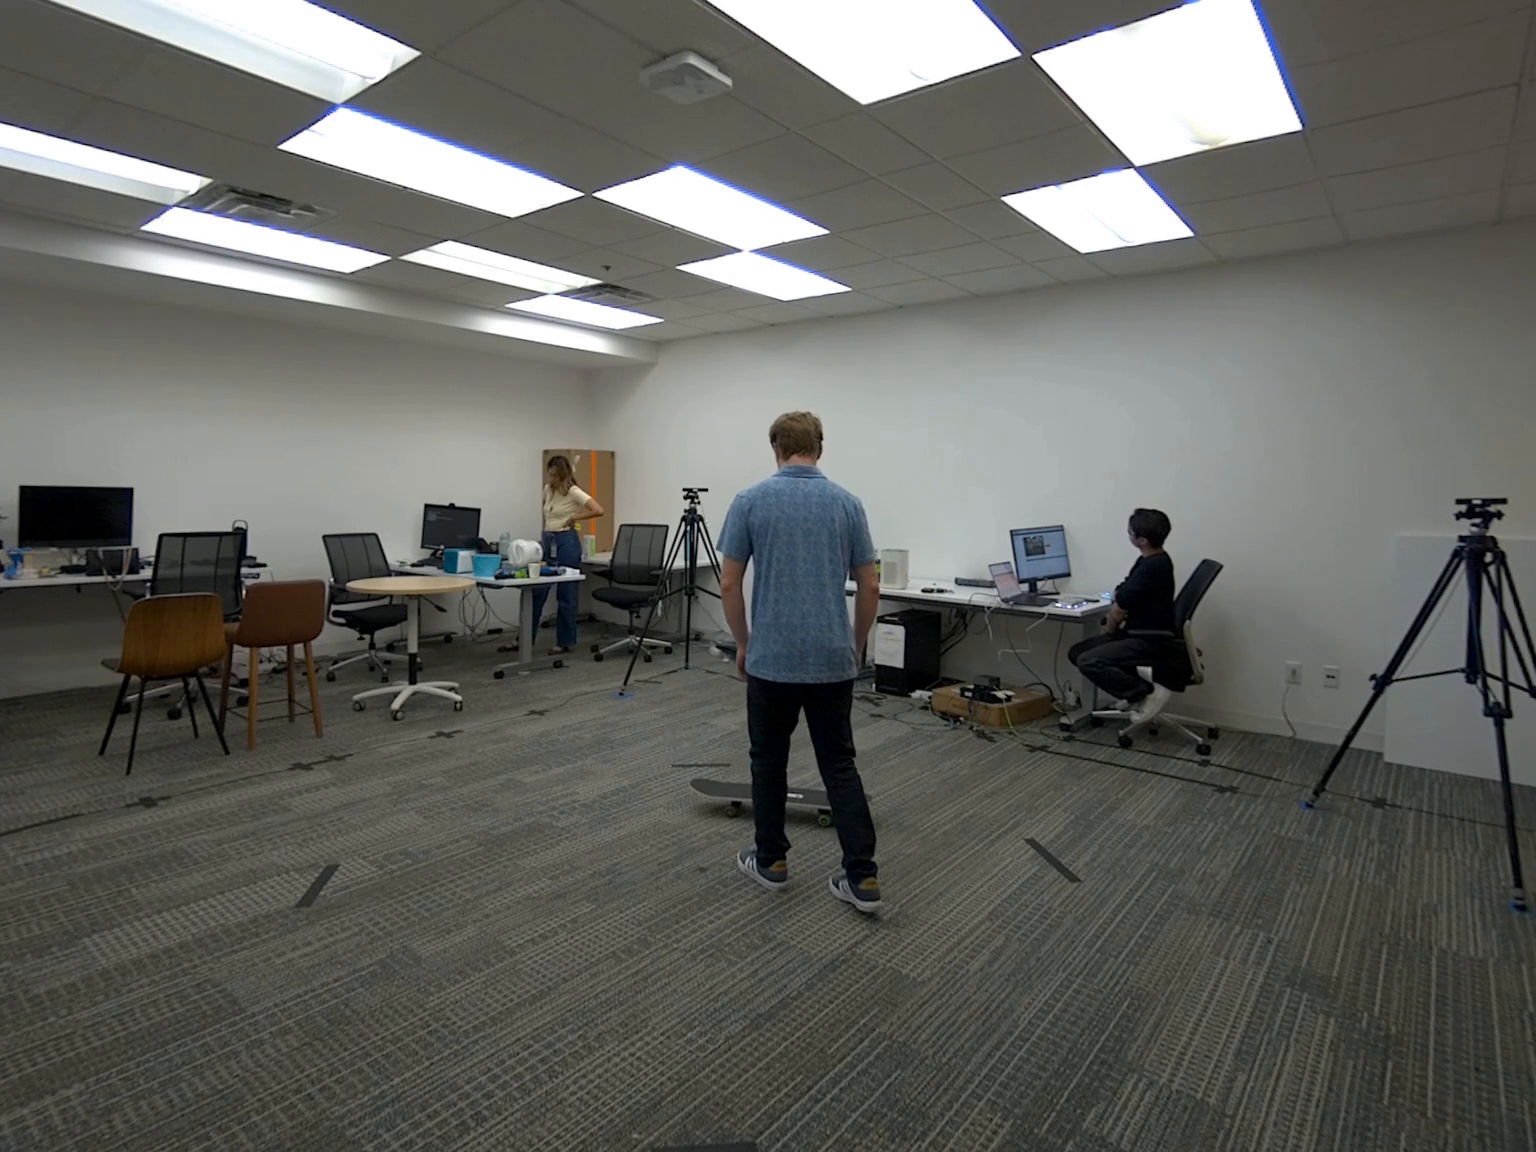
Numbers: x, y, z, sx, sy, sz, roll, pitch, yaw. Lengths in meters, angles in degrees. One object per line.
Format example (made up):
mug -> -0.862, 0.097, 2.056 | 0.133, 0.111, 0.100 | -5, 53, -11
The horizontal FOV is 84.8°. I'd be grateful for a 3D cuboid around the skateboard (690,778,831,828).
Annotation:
skateboard -> 0.032, 0.962, 3.646 | 0.795, 0.110, 0.192 | 3, 5, 10
